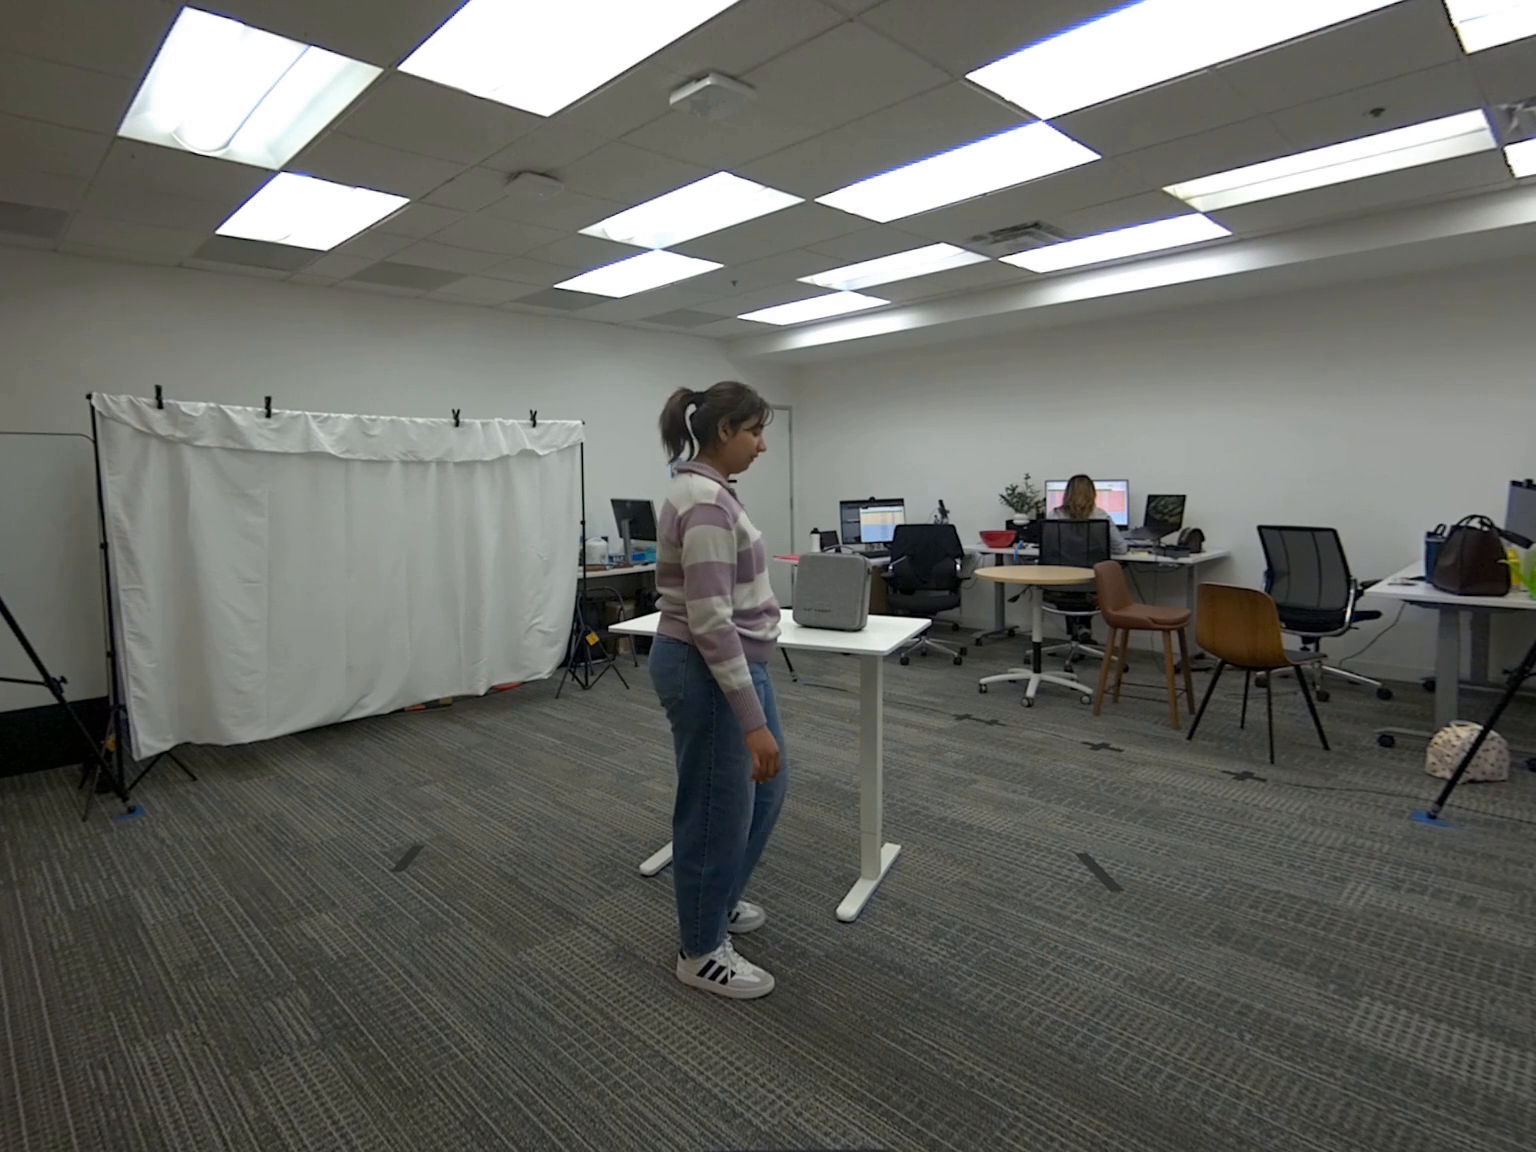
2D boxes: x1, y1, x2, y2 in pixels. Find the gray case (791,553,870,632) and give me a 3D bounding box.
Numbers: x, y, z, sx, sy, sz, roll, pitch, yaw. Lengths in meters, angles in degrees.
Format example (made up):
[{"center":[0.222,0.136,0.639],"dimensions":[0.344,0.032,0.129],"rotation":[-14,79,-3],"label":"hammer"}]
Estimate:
[{"center":[0.221,0.047,2.948],"dimensions":[0.264,0.261,0.101],"rotation":[4,-5,32],"label":"gray case"}]
